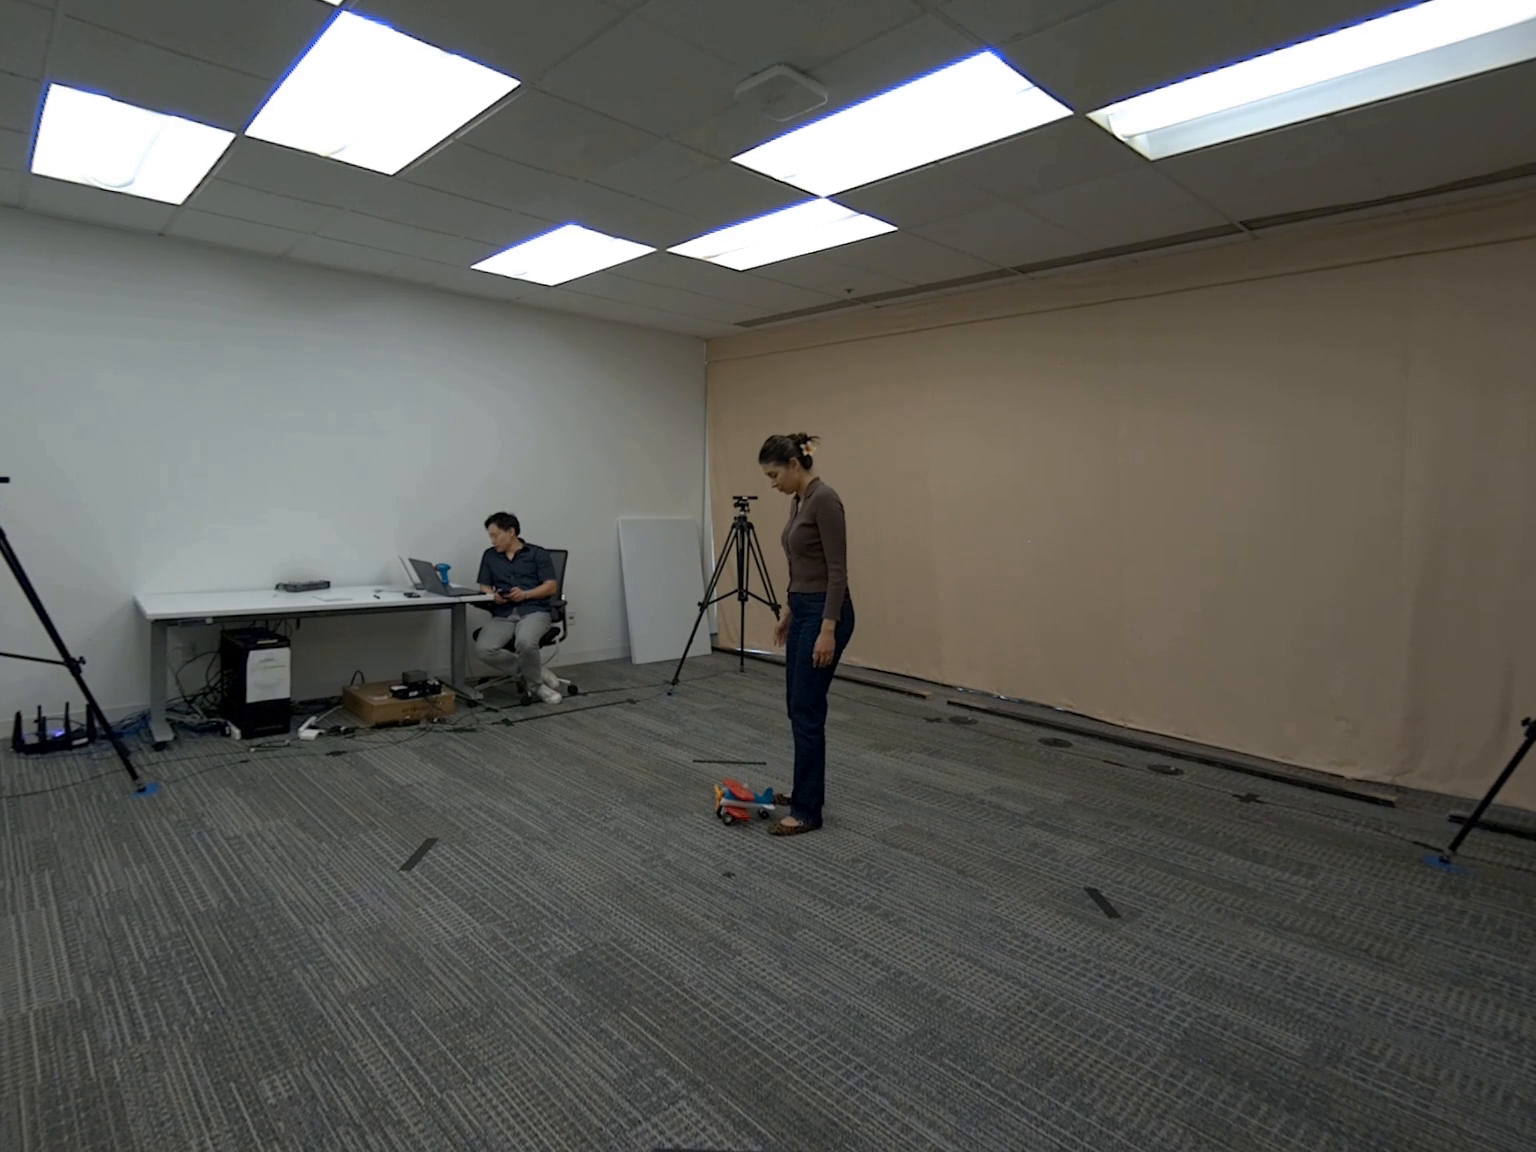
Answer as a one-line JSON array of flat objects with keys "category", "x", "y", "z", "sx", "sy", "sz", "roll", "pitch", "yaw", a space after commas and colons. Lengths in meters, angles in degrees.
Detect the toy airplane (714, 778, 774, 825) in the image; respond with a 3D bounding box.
[{"category": "toy airplane", "x": -0.114, "y": 0.983, "z": 3.661, "sx": 0.257, "sy": 0.156, "sz": 0.253, "roll": 3, "pitch": 5, "yaw": 43}]
